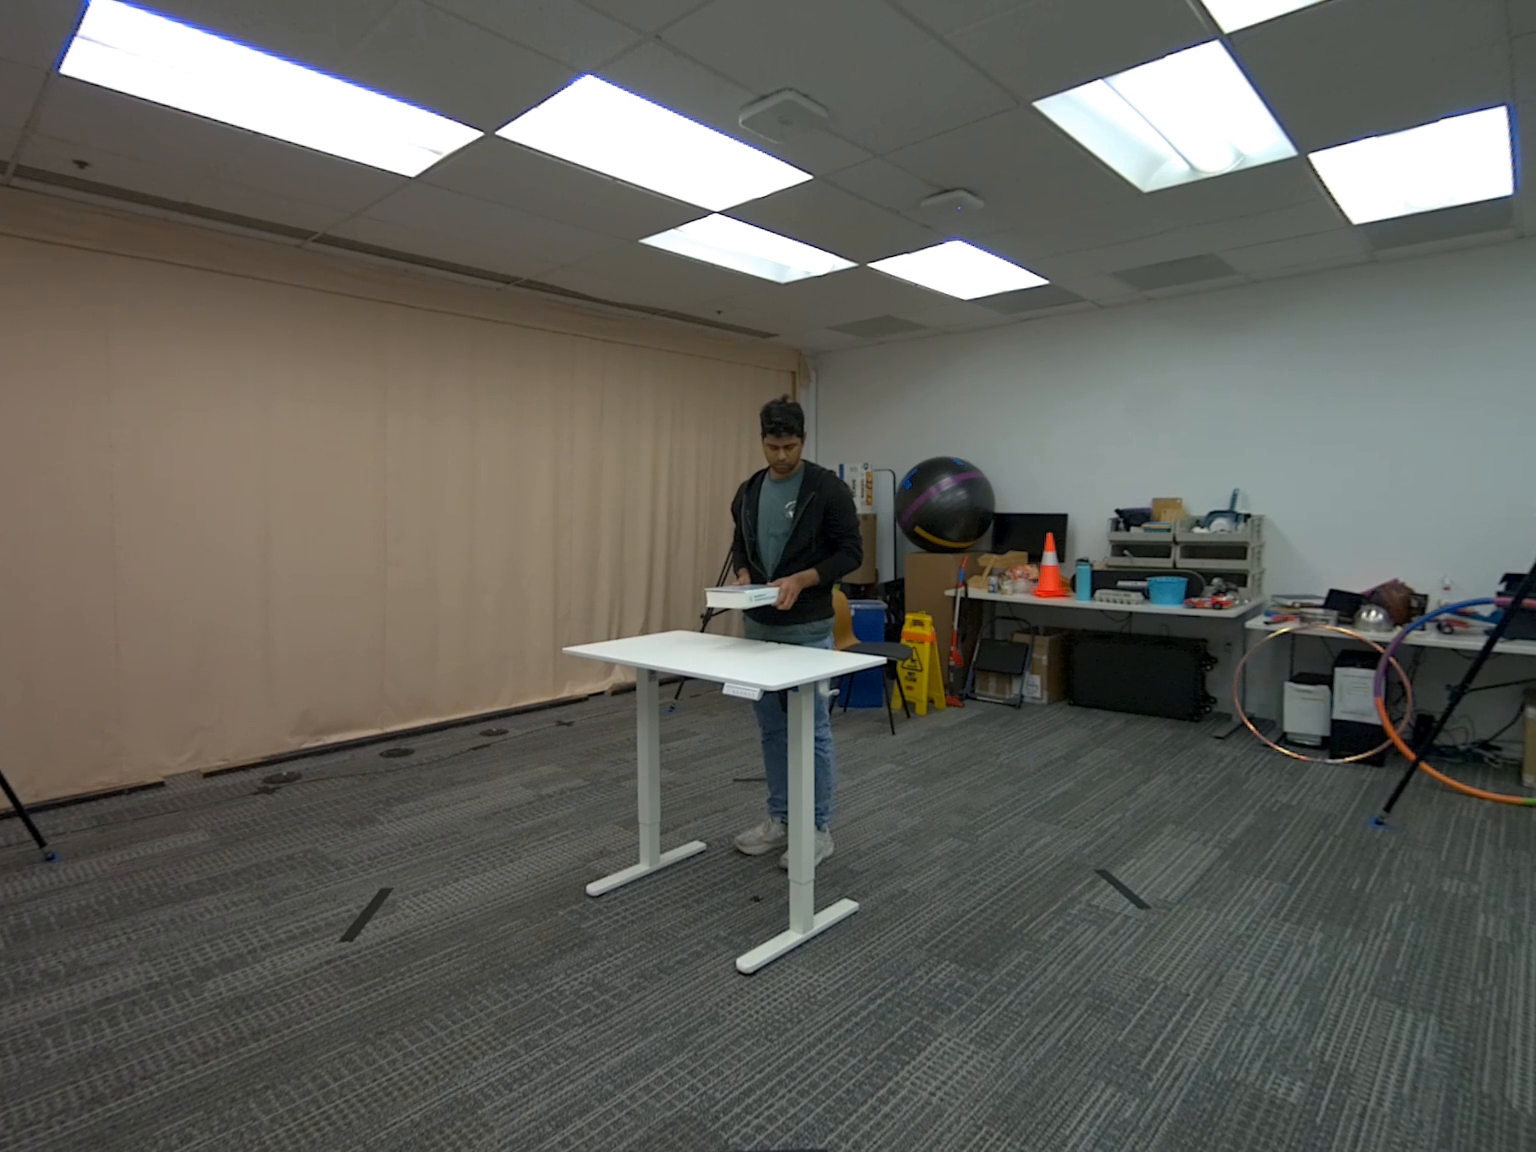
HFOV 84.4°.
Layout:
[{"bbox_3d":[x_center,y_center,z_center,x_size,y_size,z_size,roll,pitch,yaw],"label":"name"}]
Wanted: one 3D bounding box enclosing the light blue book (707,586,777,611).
[{"bbox_3d":[-0.065,0.080,3.085,0.197,0.059,0.253,2,5,36],"label":"light blue book"}]
